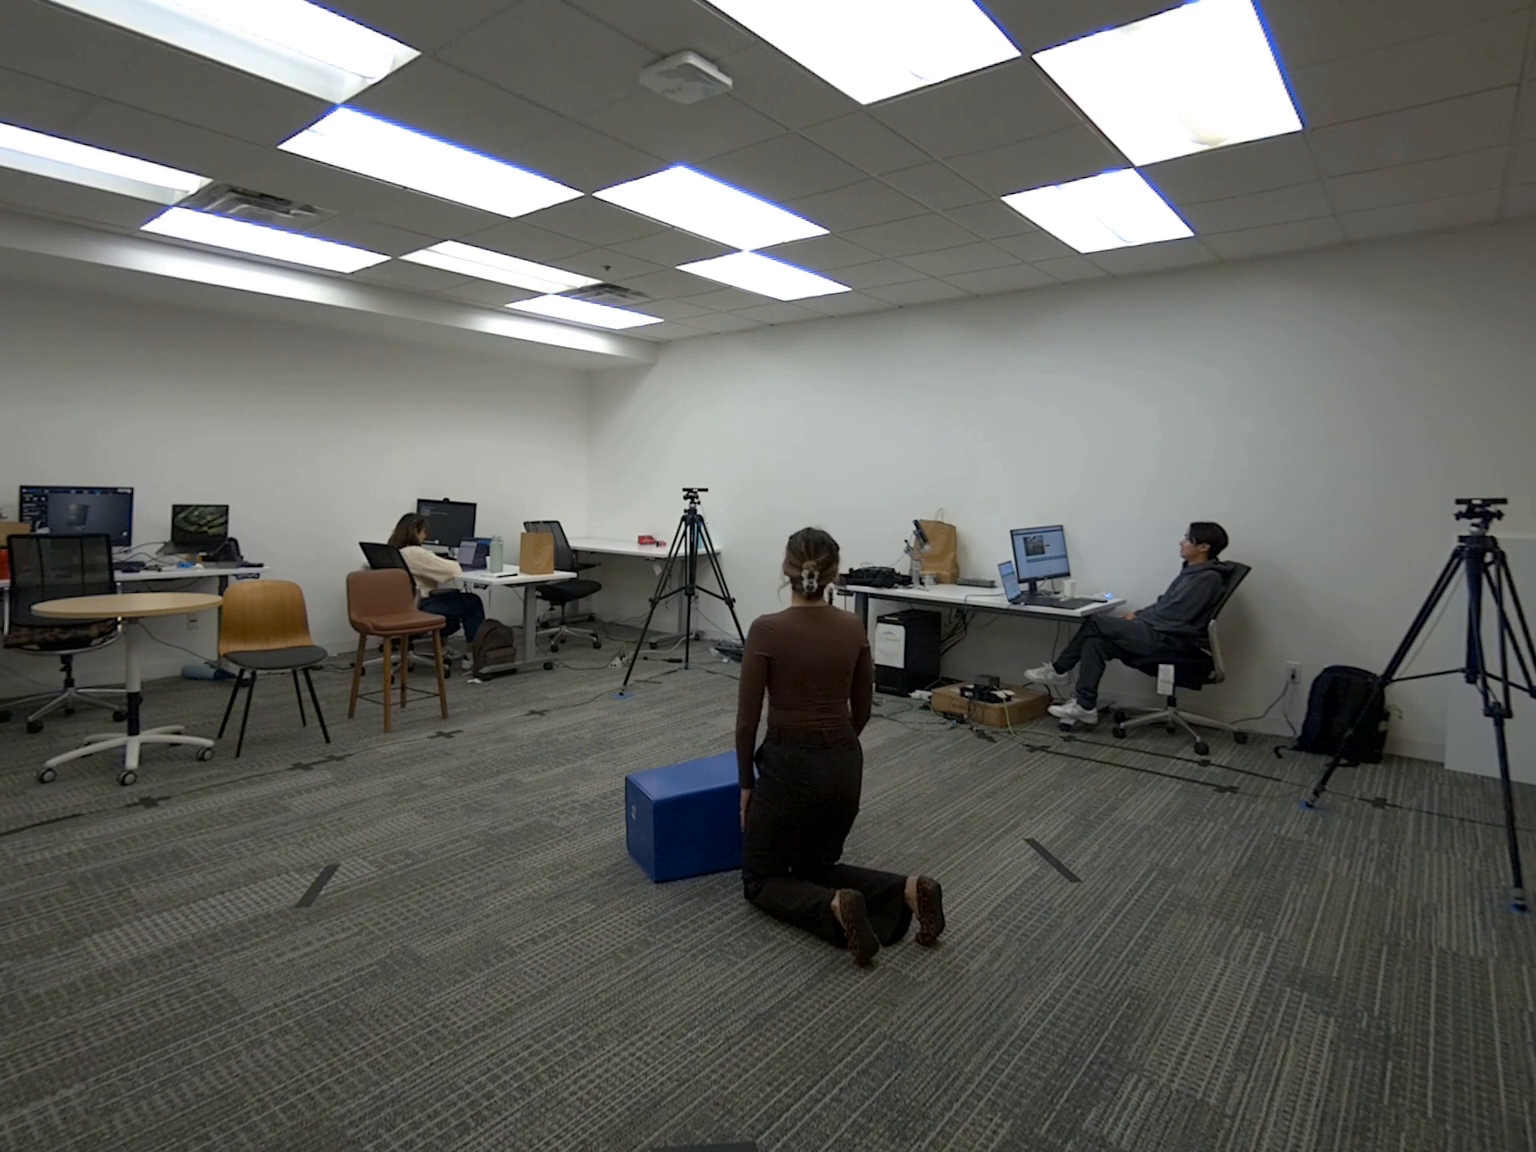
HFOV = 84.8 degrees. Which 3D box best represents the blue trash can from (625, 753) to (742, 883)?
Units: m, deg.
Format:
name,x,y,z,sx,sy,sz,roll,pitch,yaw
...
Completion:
name,x,y,z,sx,sy,sz,roll,pitch,yaw
blue trash can,-0.175,0.884,3.257,0.697,0.376,0.385,-3,6,-26
